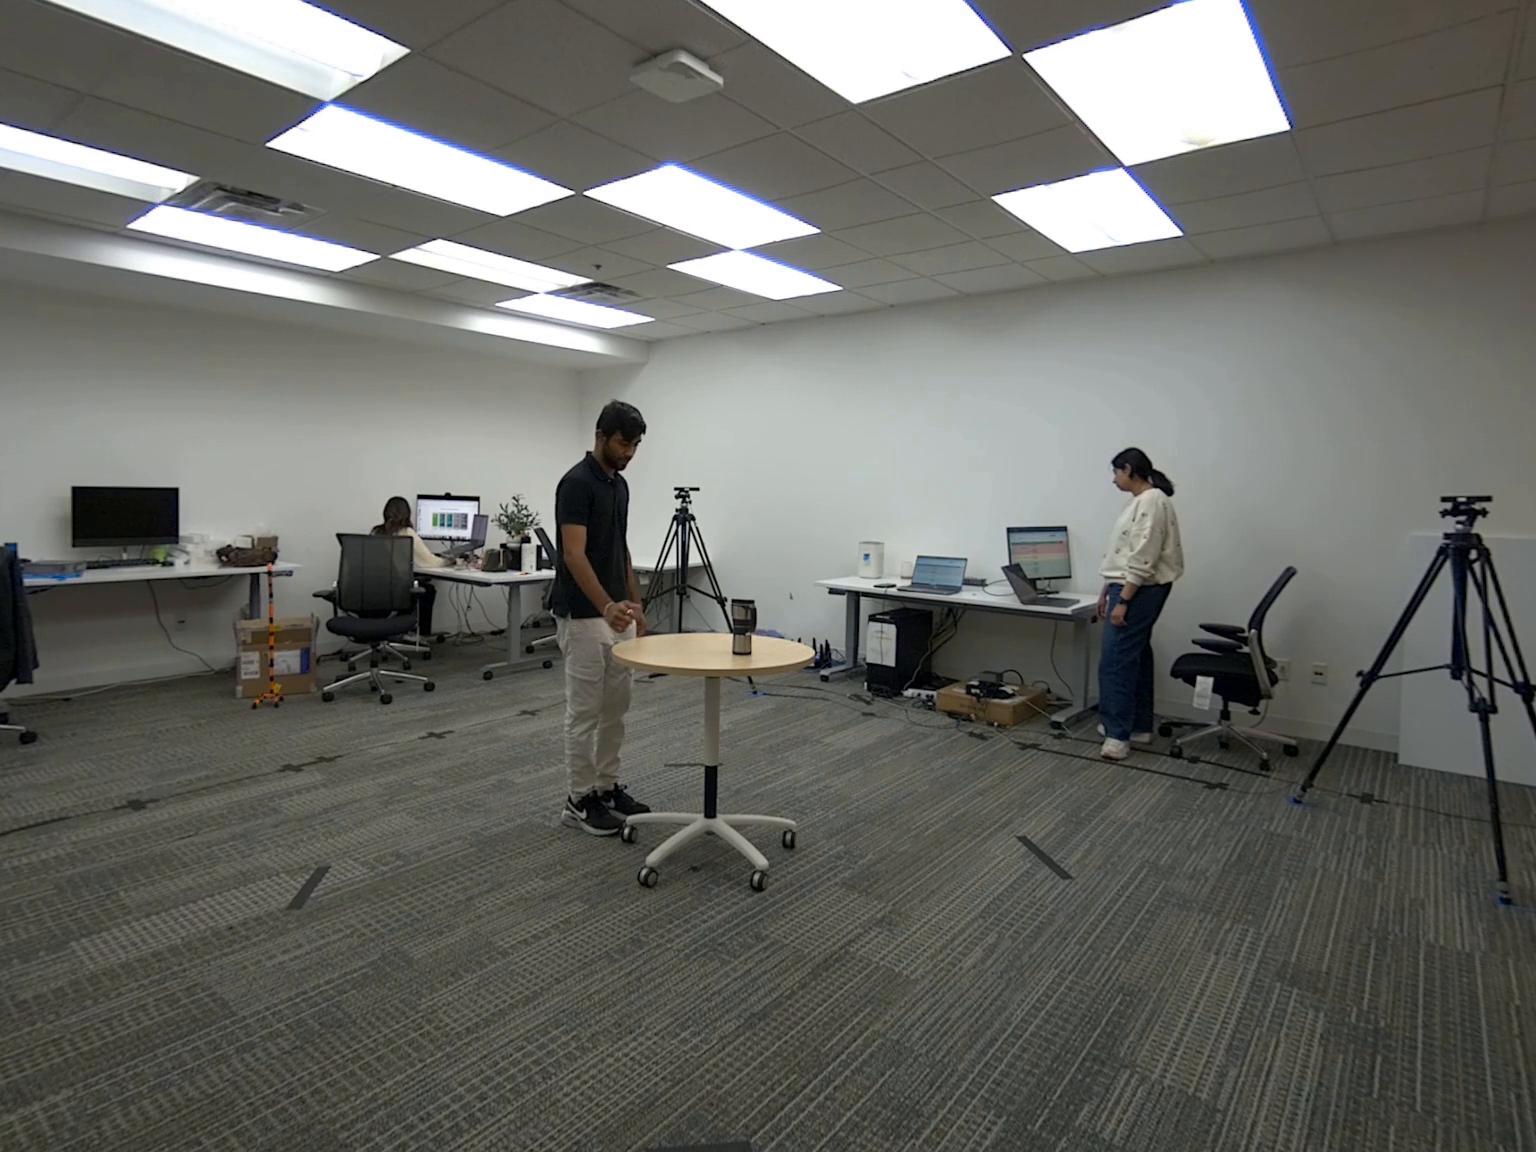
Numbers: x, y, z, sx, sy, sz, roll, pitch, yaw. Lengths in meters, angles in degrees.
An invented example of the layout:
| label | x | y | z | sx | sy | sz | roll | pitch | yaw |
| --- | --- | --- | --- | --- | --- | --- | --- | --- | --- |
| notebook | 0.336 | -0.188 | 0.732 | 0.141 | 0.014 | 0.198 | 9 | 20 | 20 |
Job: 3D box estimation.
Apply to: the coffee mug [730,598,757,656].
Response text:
| label | x | y | z | sx | sy | sz | roll | pitch | yaw |
| --- | --- | --- | --- | --- | --- | --- | --- | --- | --- |
| coffee mug | -0.108 | 0.187 | 3.128 | 0.085 | 0.202 | 0.126 | -1 | 7 | -39 |
